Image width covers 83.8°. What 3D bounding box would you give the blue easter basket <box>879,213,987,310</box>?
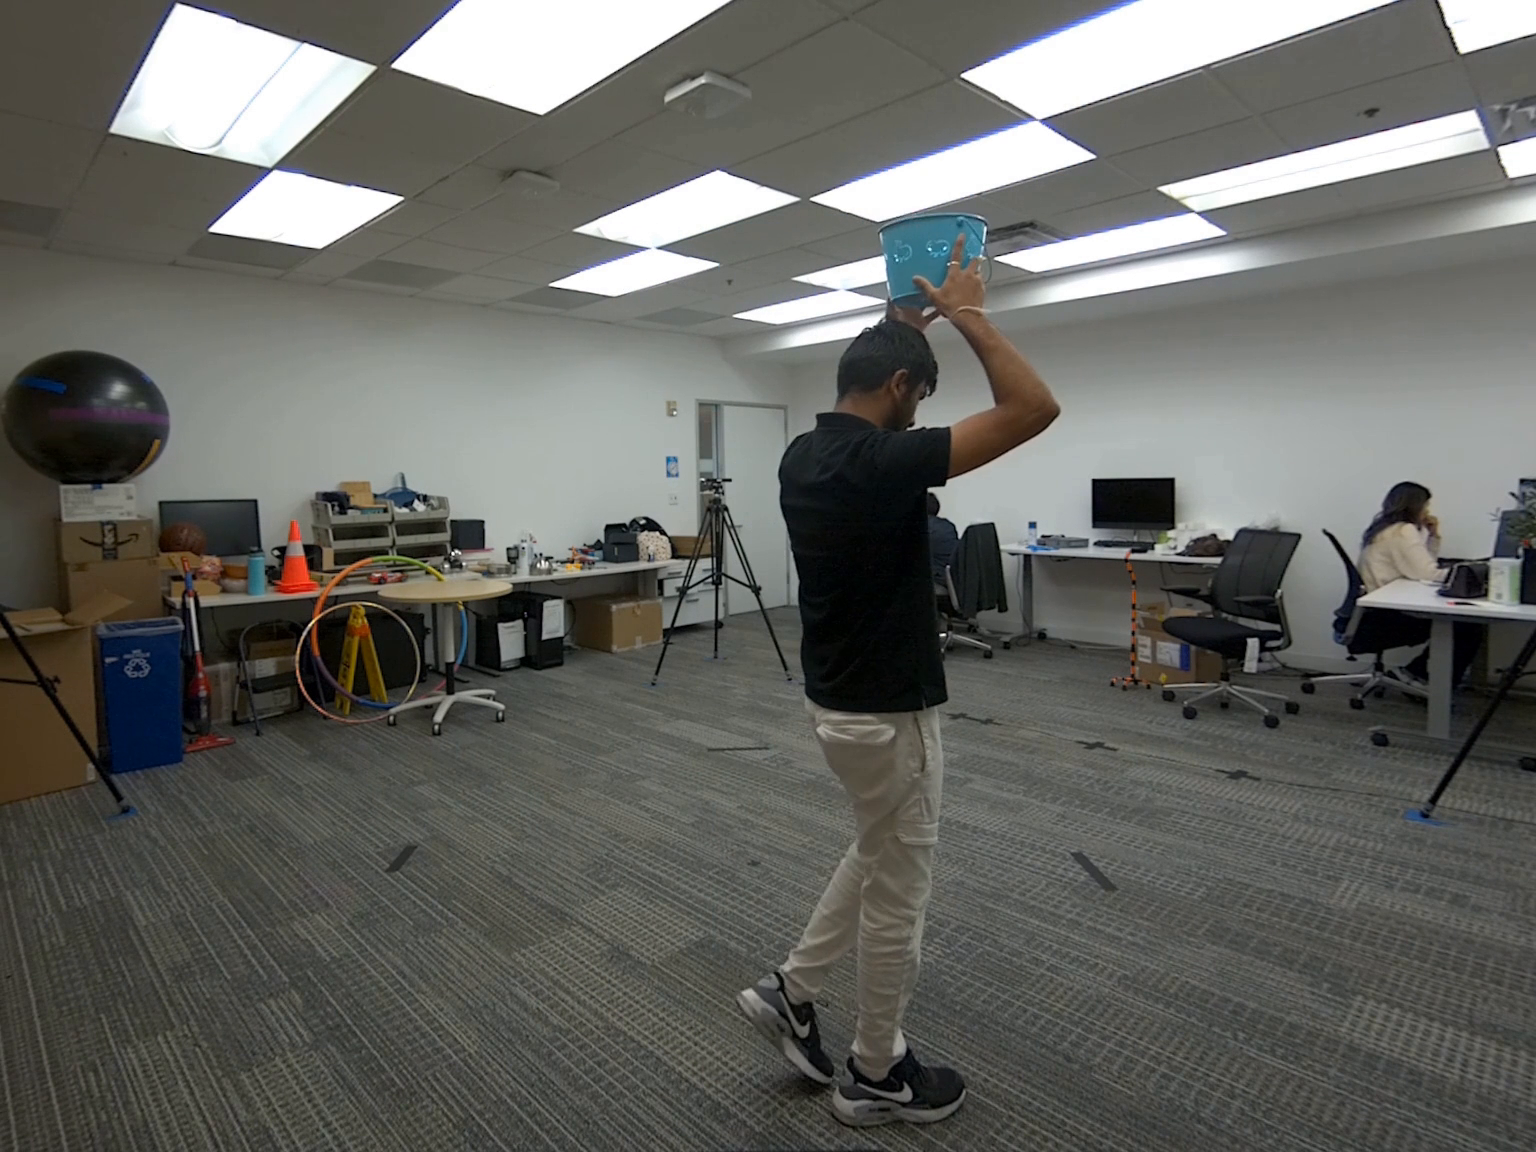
[{"bbox_3d":[0.364,-0.682,1.849,0.243,0.155,0.245,-3,6,-1],"label":"blue easter basket"}]
